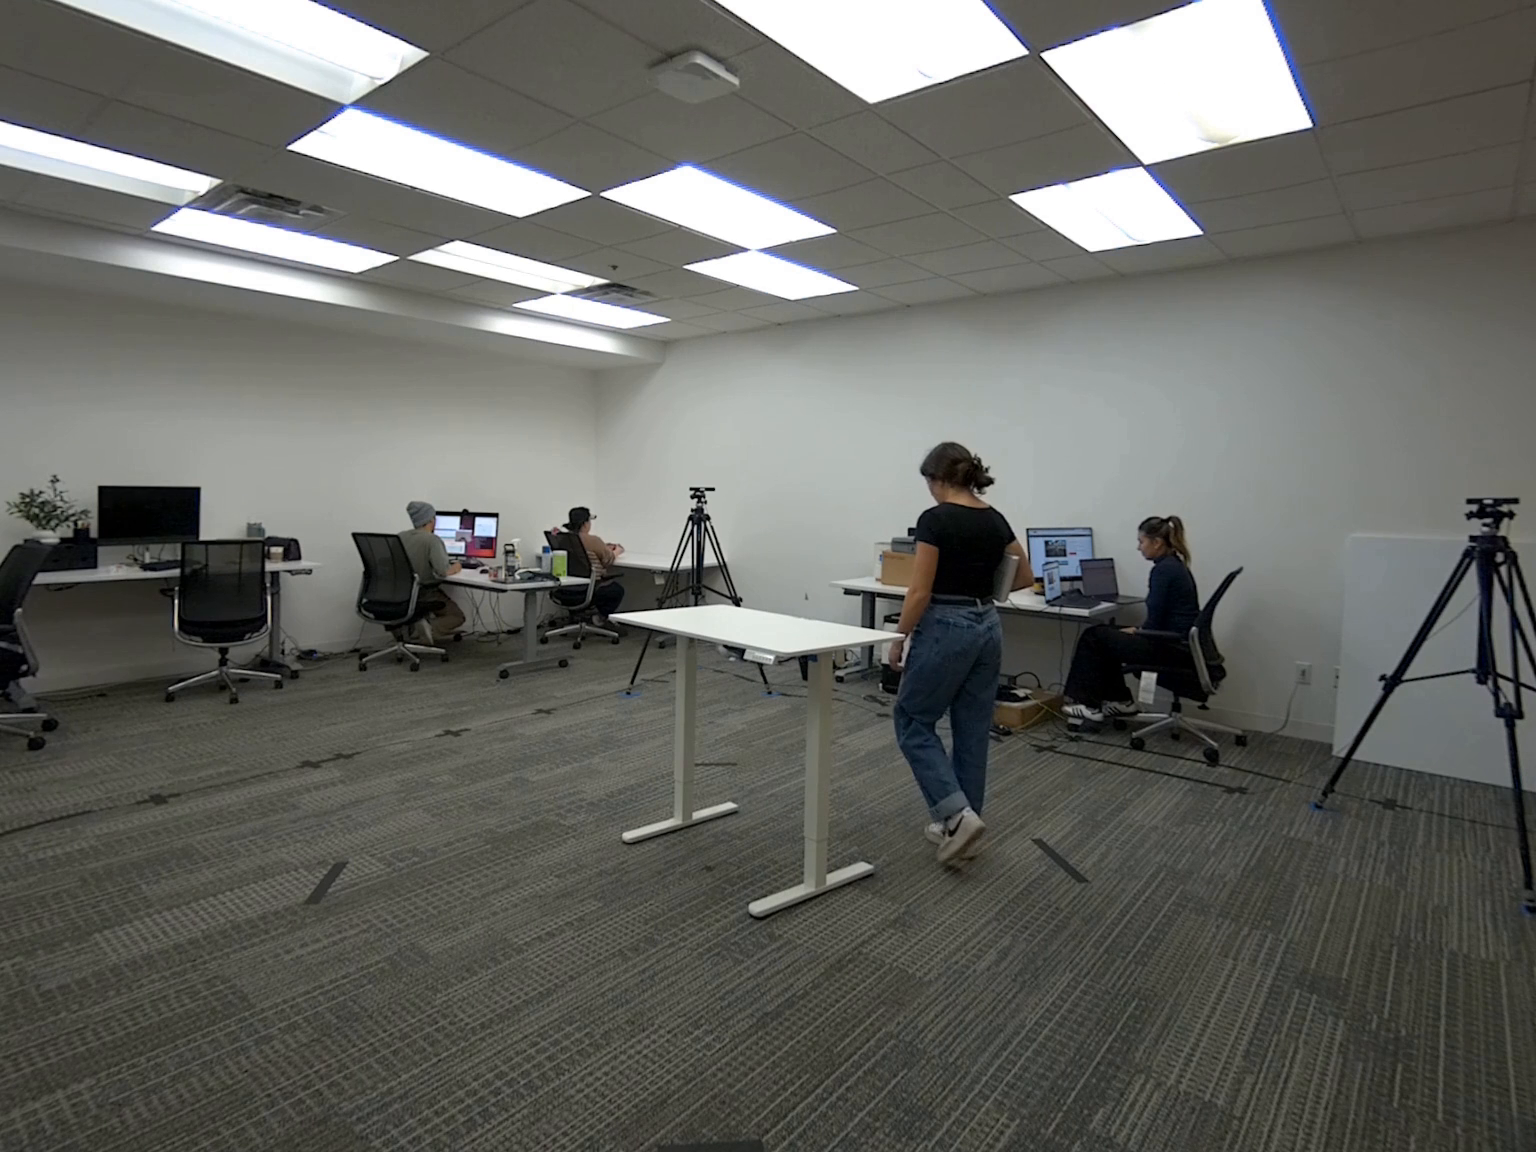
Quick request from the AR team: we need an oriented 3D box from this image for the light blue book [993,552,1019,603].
[{"bbox_3d":[0.835,-0.034,3.362,0.057,0.189,0.272,-4,21,-40],"label":"light blue book"}]
